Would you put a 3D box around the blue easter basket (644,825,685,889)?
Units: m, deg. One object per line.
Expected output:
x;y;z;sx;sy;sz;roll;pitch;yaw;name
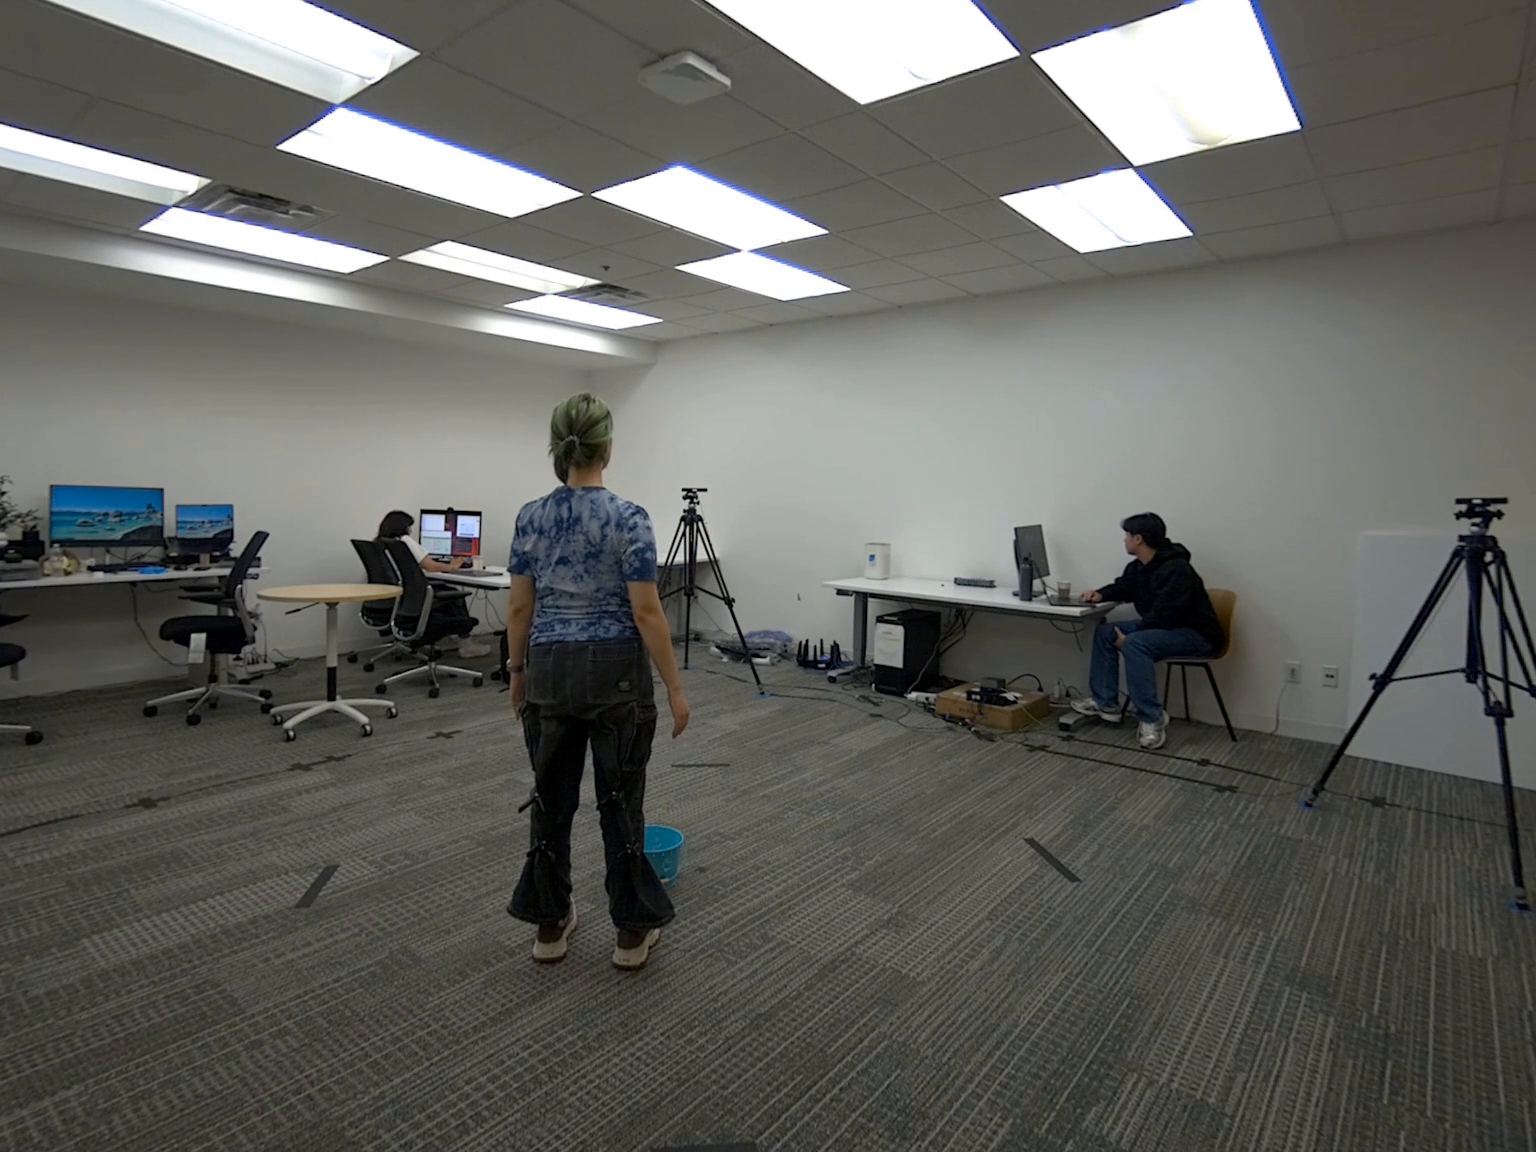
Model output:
-0.424;0.997;3.006;0.243;0.155;0.245;2;5;-2;blue easter basket
